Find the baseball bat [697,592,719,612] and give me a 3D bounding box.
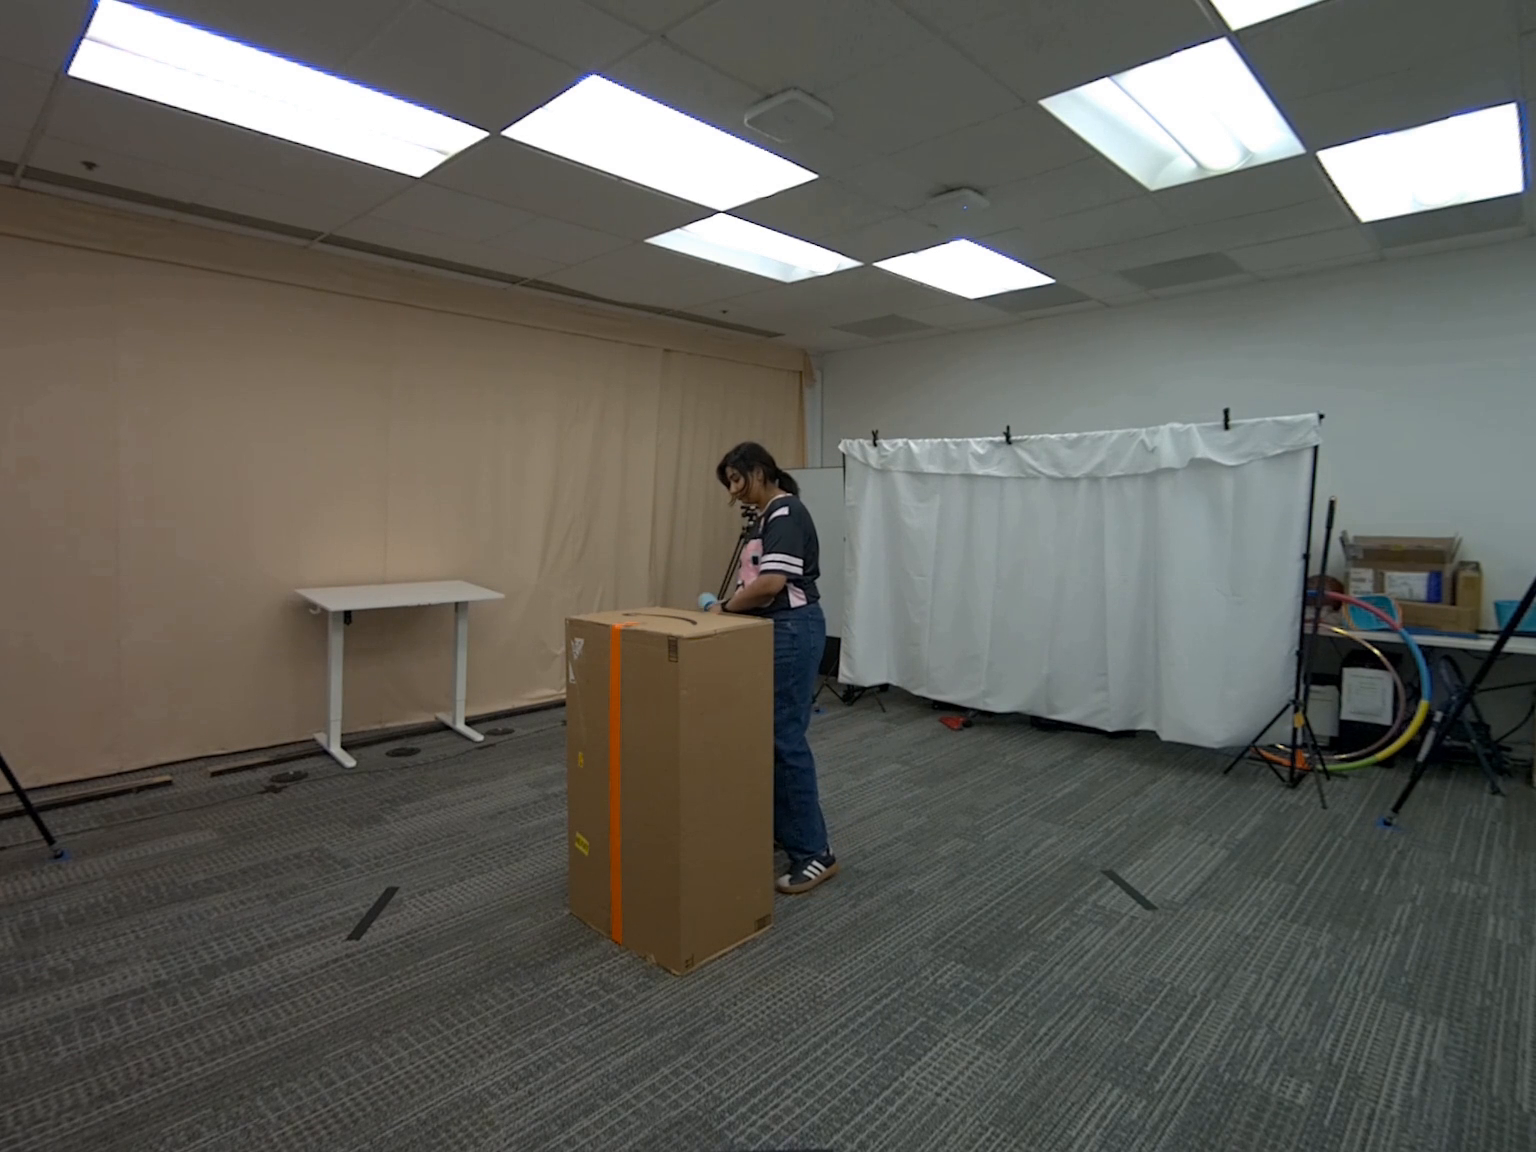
[{"bbox_3d":[-0.243,0.148,3.619,0.088,0.089,0.549,-1,5,-10],"label":"baseball bat"}]
